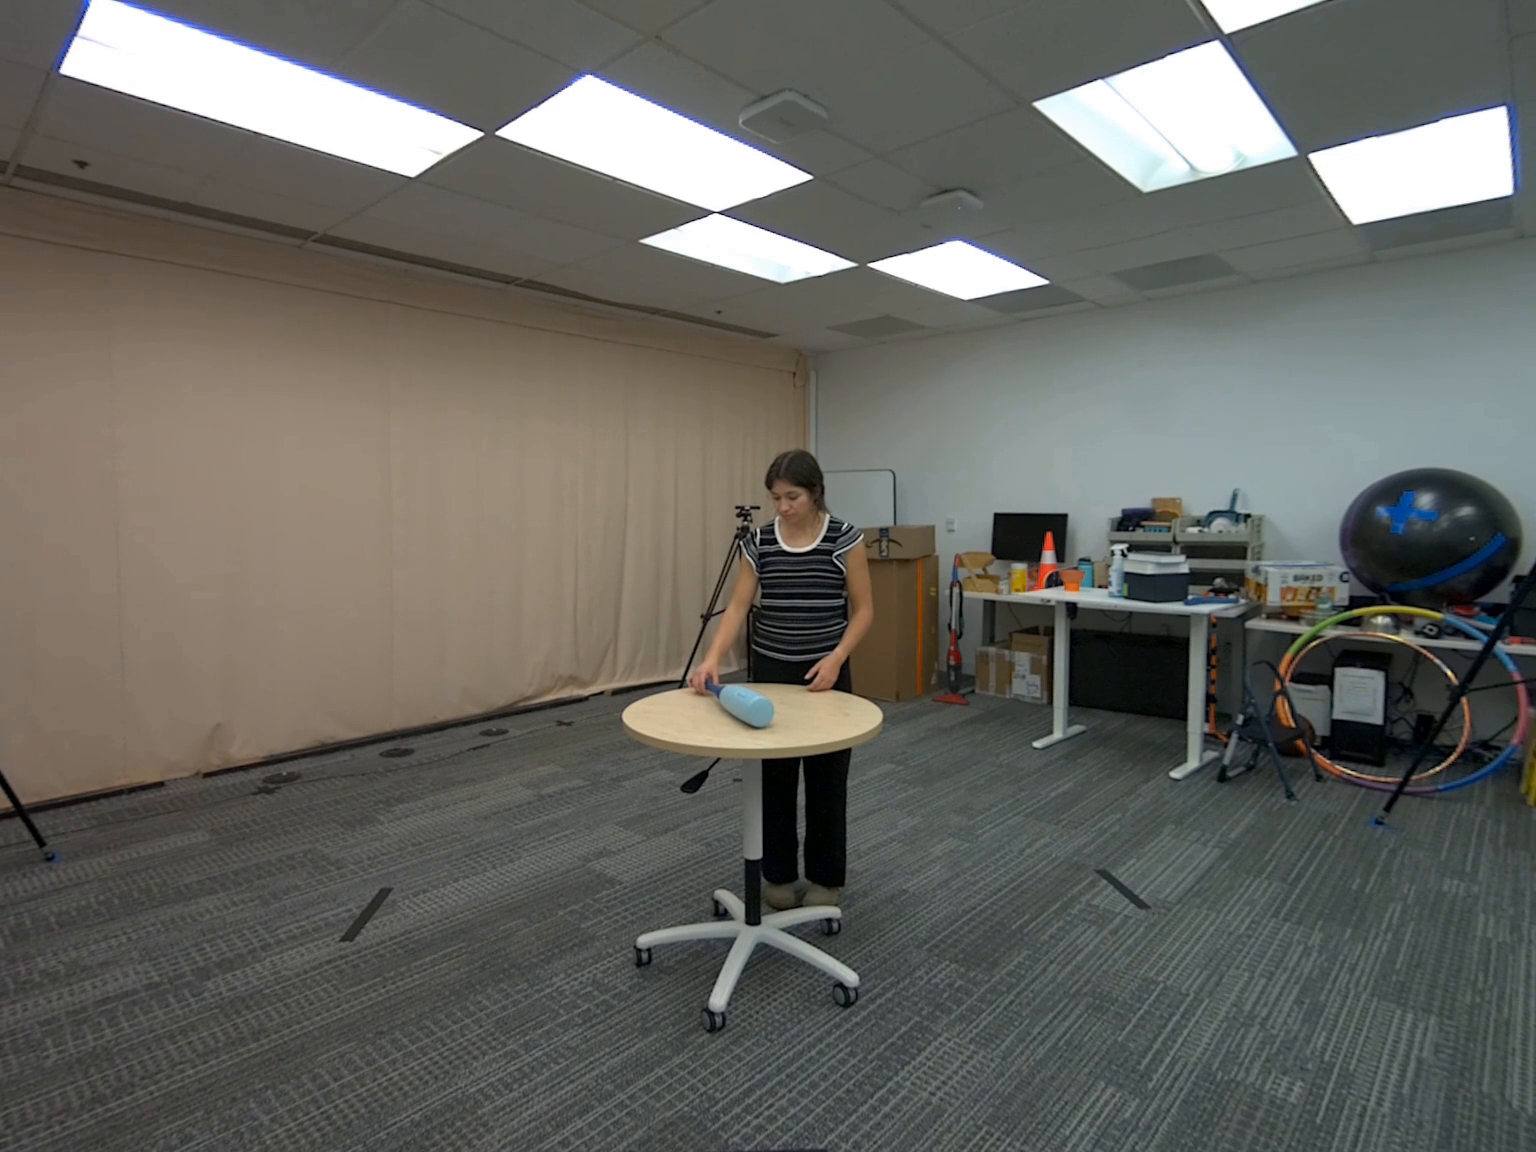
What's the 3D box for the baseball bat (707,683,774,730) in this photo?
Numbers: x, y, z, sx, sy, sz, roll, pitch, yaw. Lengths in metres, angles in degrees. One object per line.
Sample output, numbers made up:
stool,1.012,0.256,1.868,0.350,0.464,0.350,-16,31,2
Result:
baseball bat,-0.122,0.364,2.532,0.087,0.089,0.556,-1,2,-24
